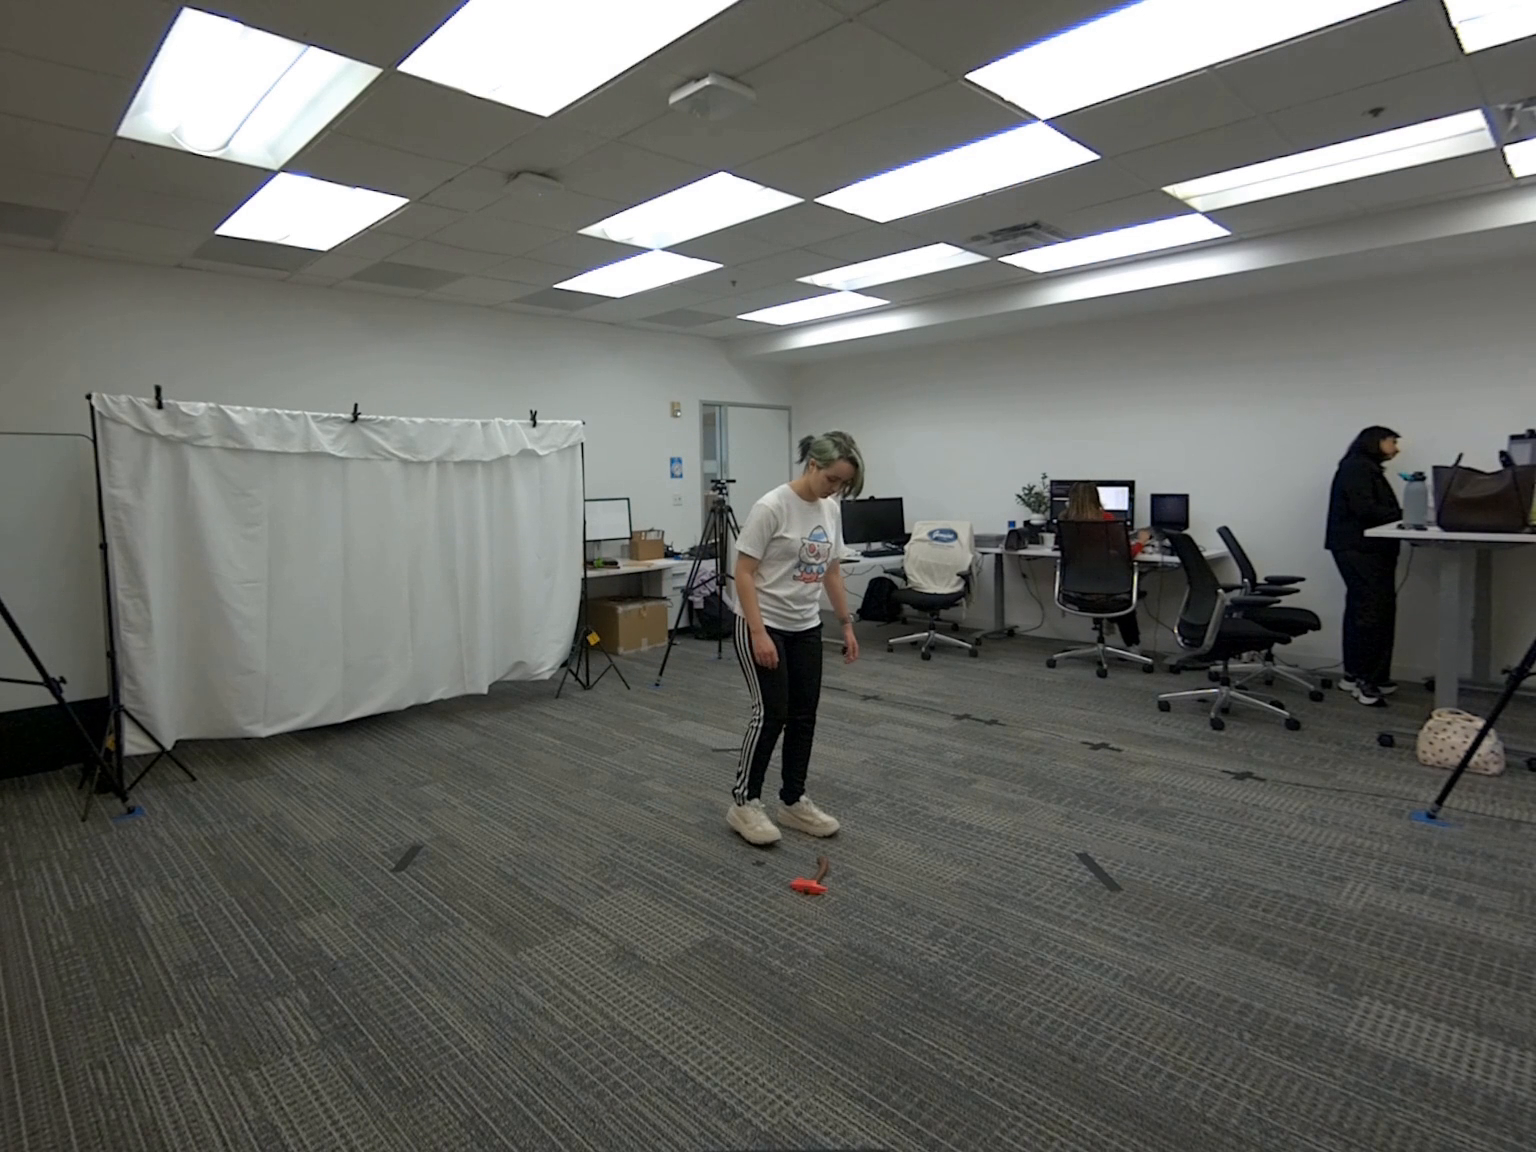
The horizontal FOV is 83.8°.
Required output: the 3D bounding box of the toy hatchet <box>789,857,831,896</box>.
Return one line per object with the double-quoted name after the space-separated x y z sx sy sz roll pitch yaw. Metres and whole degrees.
0.144 1.053 2.998 0.132 0.029 0.268 -4 3 7 "toy hatchet"
